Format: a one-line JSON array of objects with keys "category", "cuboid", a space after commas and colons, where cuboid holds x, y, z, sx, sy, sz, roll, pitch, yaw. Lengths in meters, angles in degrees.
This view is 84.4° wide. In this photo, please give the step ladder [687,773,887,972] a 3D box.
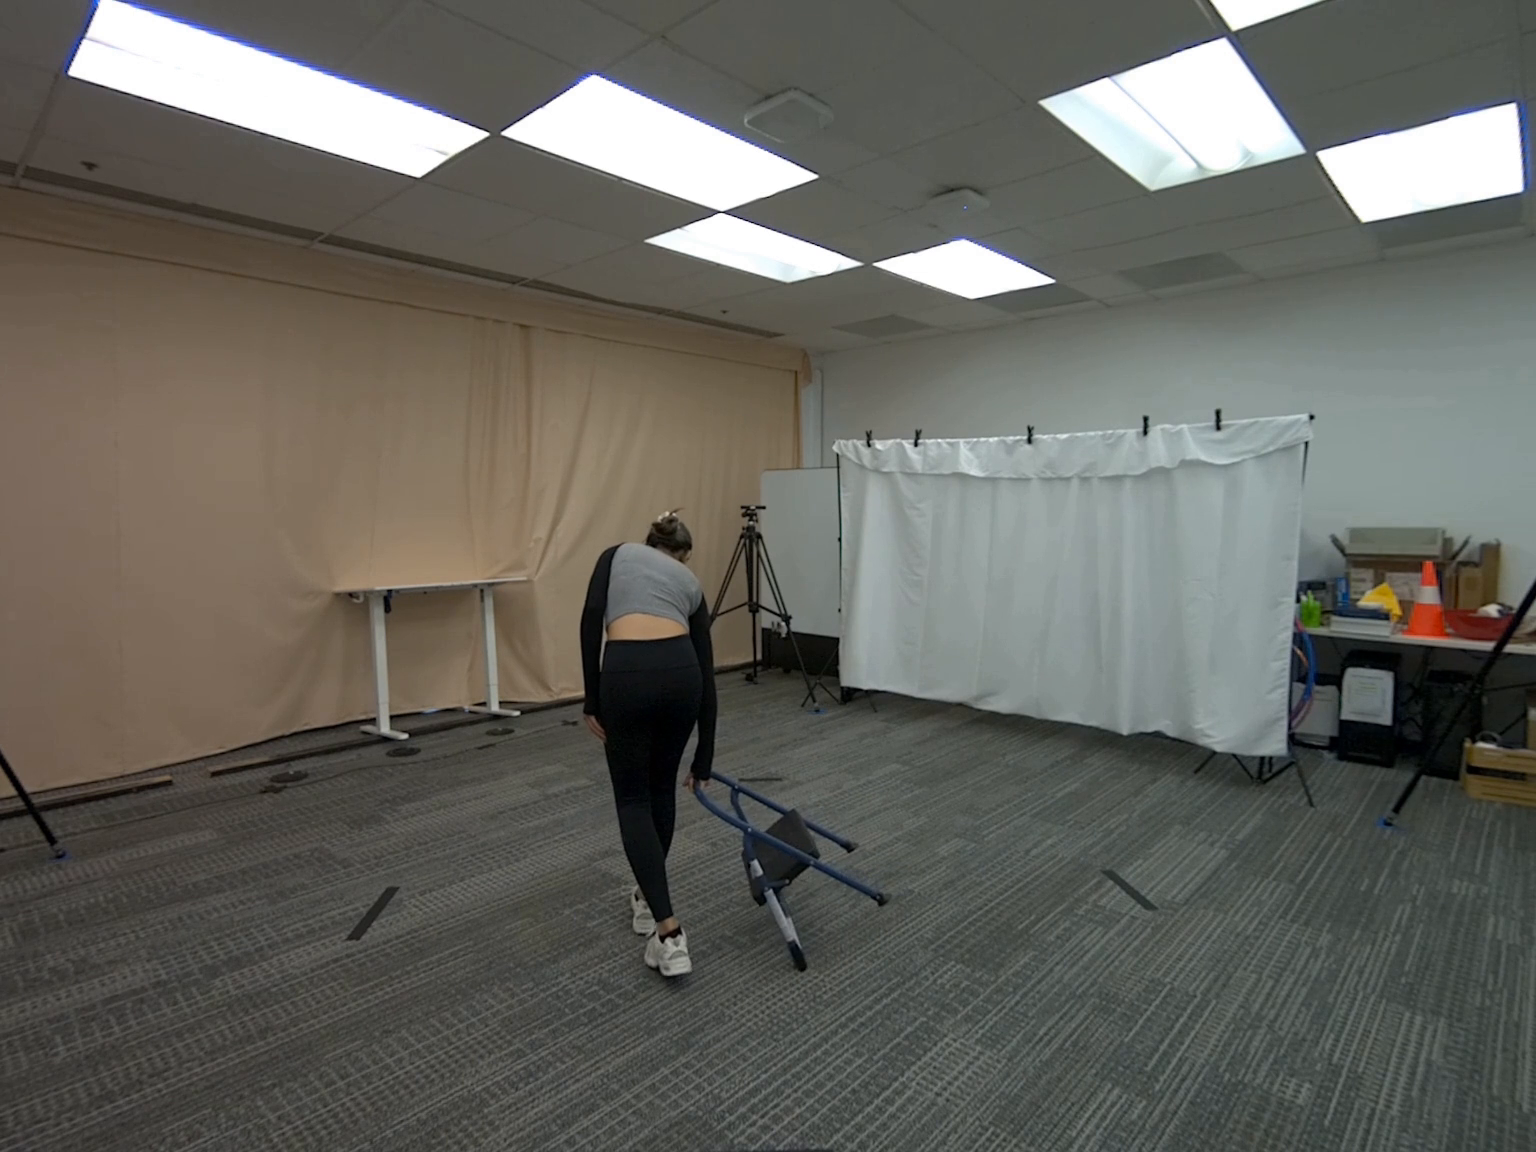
[{"category": "step ladder", "cuboid": [0.016, 0.839, 2.694, 0.349, 0.602, 0.434, -40, 6, -4]}]
